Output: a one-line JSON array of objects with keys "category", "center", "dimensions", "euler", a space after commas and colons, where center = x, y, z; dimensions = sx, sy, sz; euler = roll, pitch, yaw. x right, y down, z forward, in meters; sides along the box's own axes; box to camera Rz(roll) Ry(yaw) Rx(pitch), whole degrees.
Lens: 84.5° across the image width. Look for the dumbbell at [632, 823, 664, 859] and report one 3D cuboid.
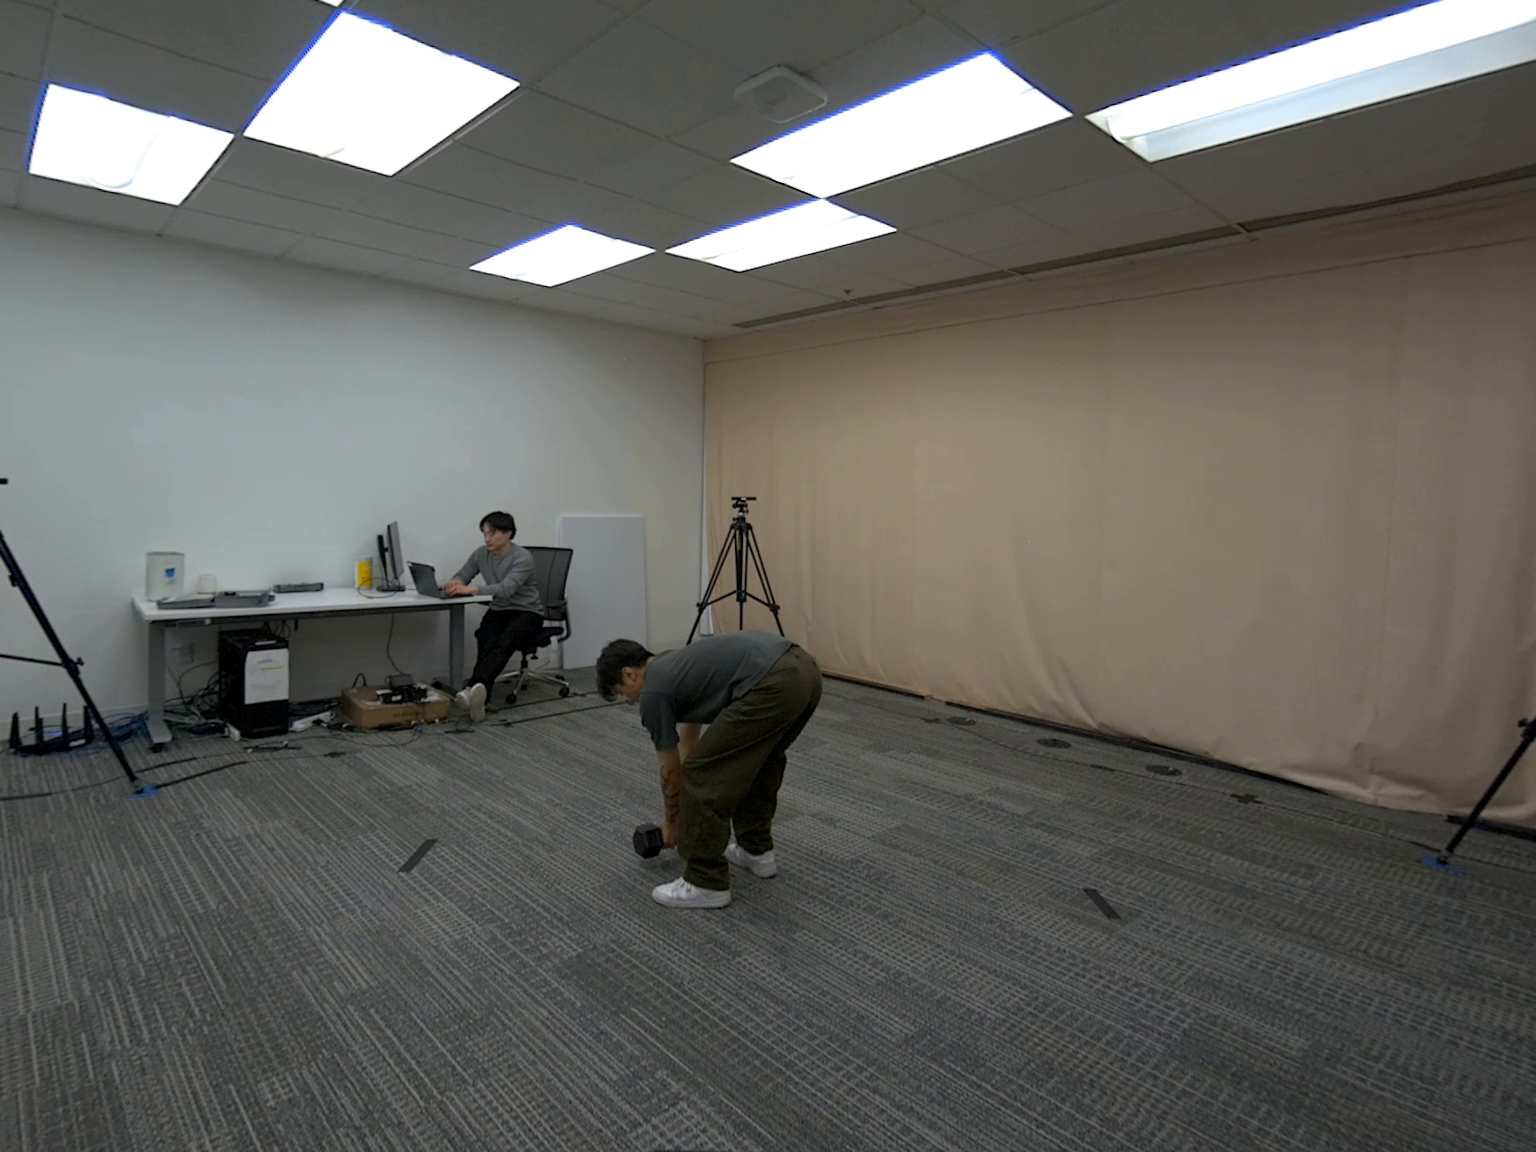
[{"category": "dumbbell", "center": [-0.374, 0.984, 3.221], "dimensions": [0.287, 0.125, 0.109], "euler": [-2, -28, -35]}]
